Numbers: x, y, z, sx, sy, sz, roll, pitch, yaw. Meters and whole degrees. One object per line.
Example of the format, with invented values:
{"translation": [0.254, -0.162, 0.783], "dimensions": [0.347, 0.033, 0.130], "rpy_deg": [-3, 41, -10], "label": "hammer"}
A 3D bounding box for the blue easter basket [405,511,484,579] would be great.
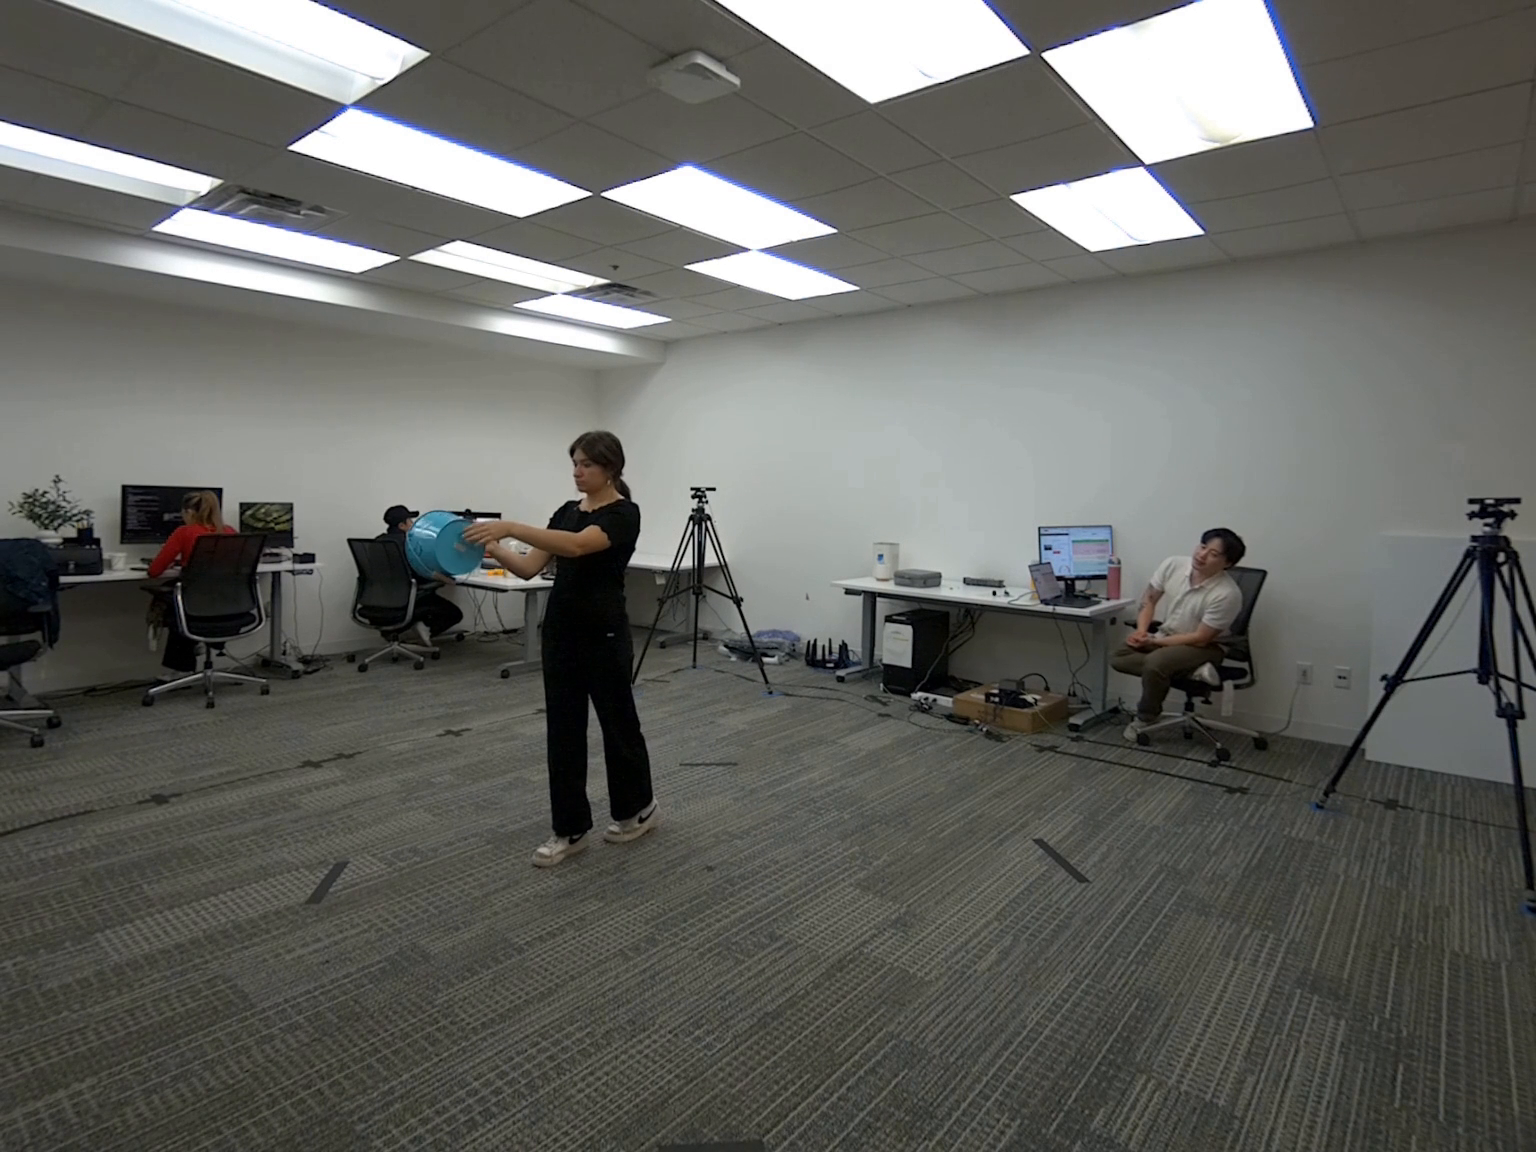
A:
{"translation": [-1.065, -0.094, 2.811], "dimensions": [0.161, 0.243, 0.236], "rpy_deg": [5, 6, 42], "label": "blue easter basket"}
